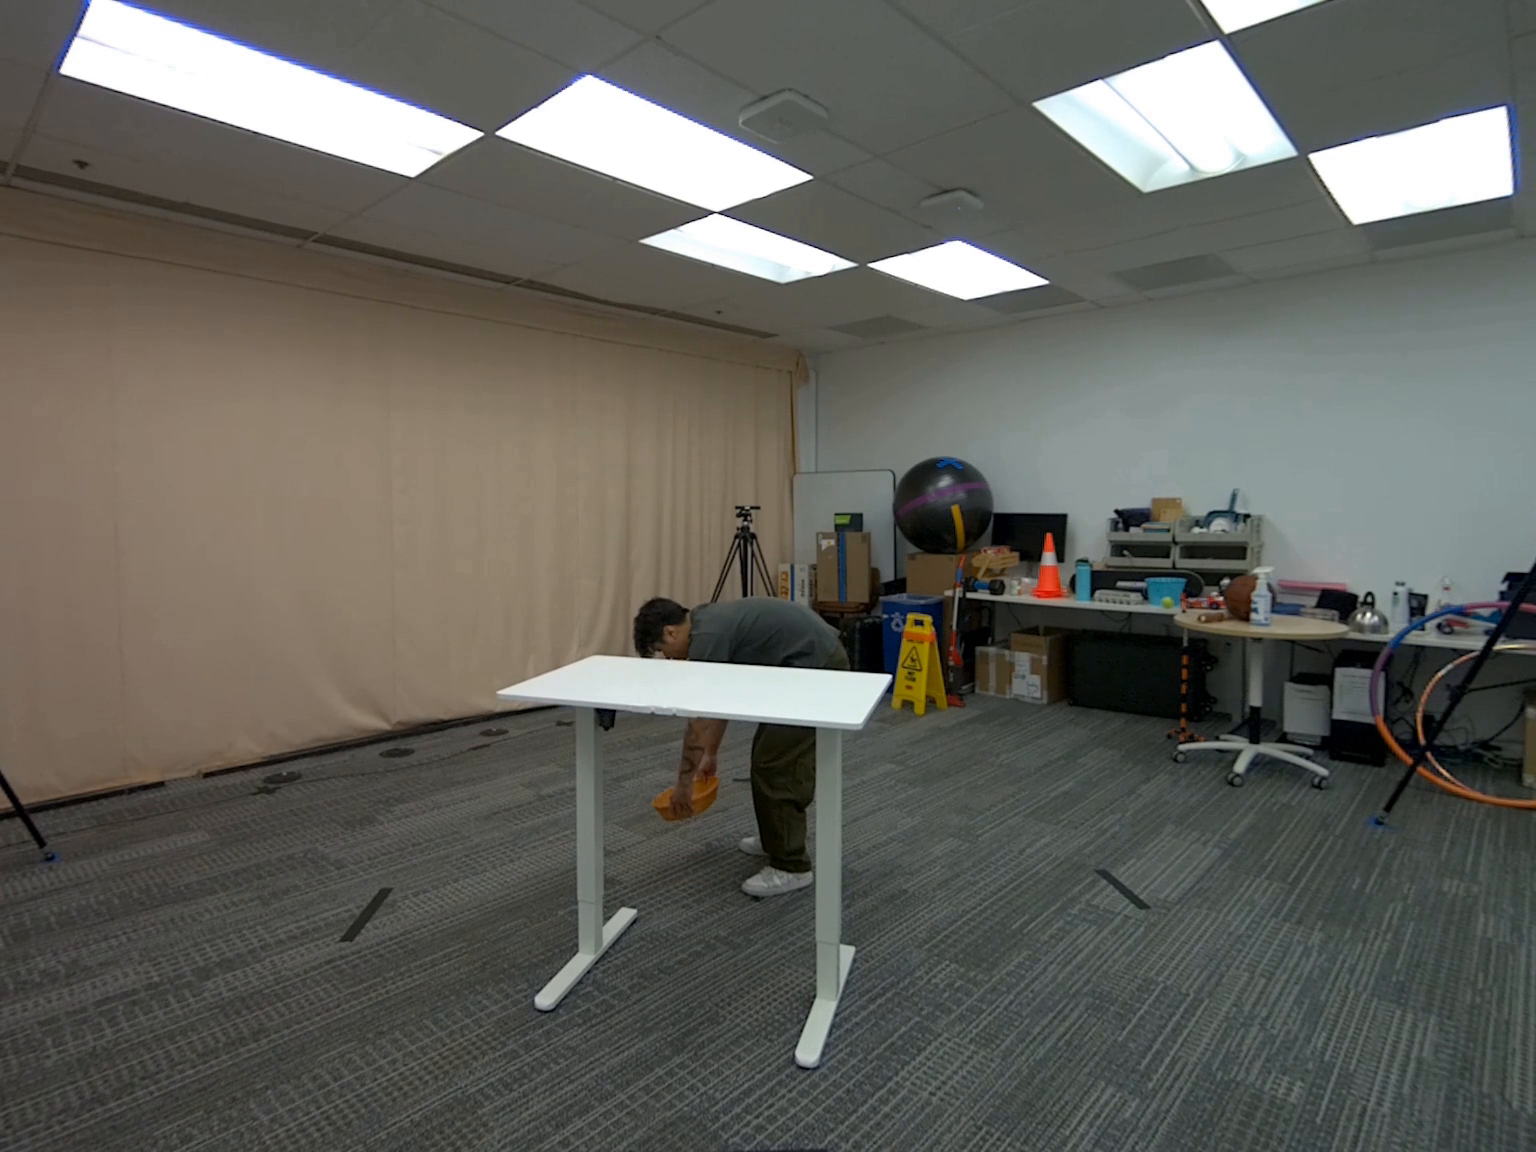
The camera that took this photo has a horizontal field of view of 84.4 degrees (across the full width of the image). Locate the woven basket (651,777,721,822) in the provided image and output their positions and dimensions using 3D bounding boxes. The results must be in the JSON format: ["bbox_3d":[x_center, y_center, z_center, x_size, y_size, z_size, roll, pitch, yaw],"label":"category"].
[{"bbox_3d":[-0.305,0.871,3.256,0.257,0.073,0.343,-13,0,21],"label":"woven basket"}]
